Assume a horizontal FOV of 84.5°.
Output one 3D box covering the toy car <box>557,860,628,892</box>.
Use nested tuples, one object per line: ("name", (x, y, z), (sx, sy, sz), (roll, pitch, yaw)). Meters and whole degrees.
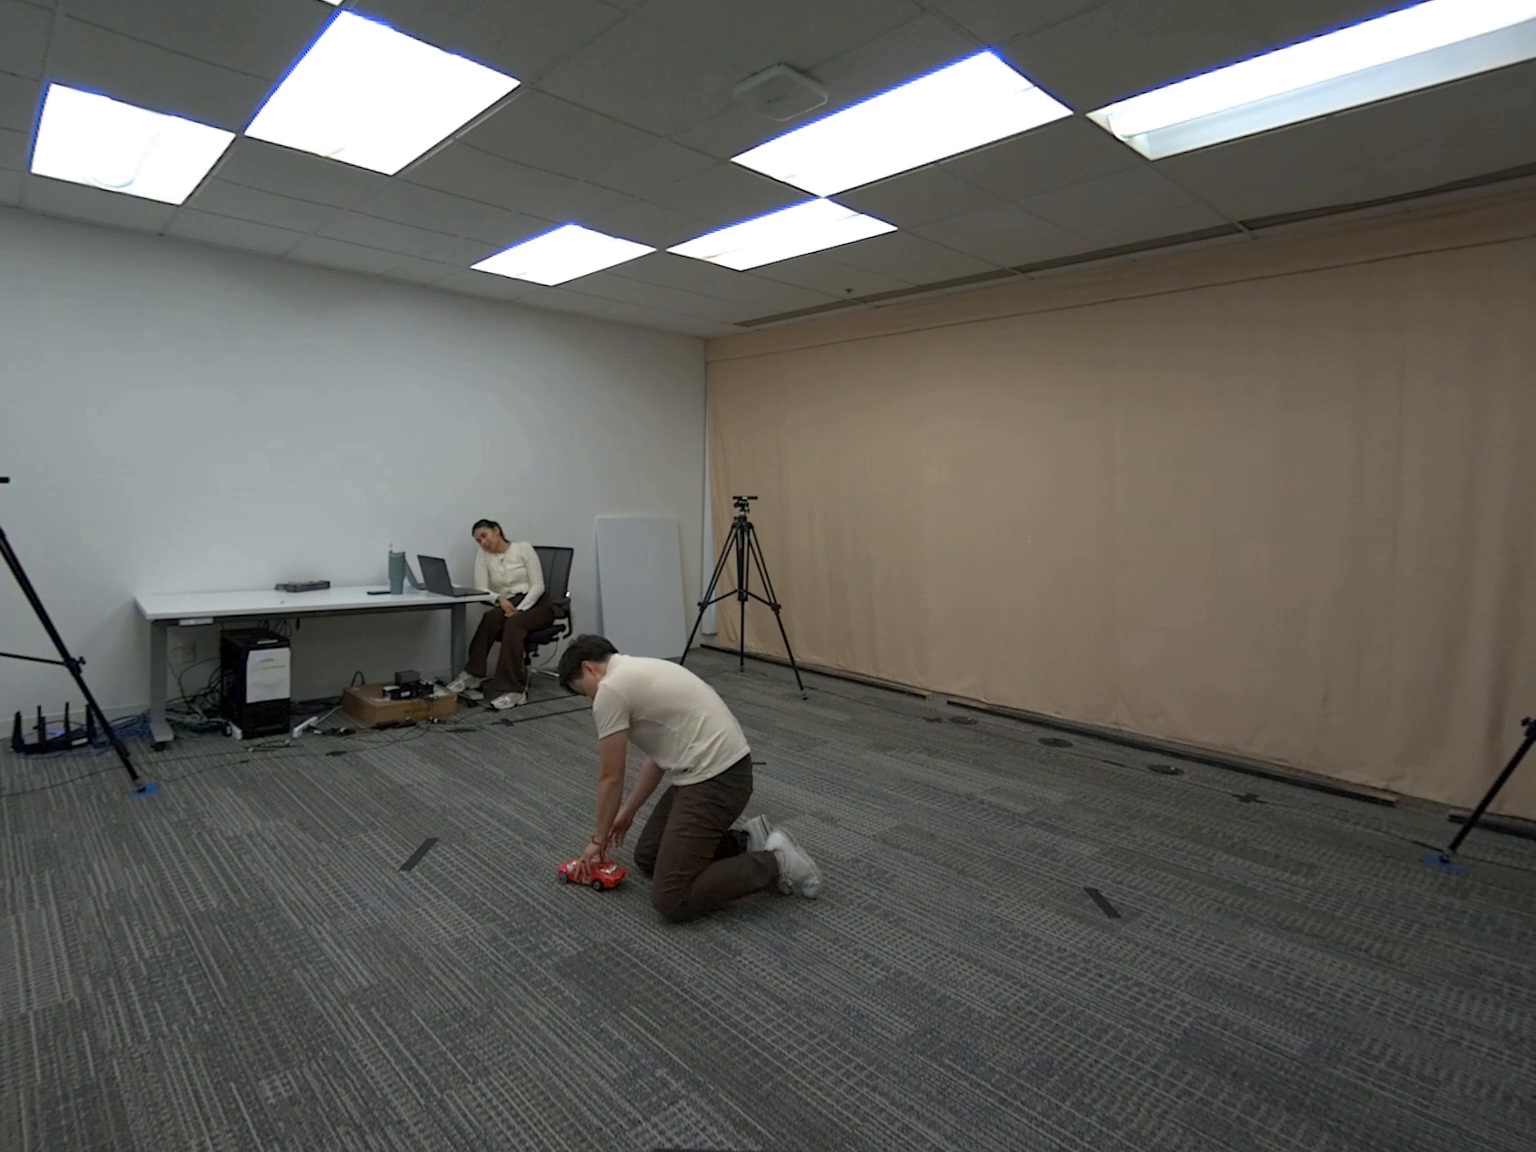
("toy car", (-0.626, 1.066, 3.021), (0.258, 0.083, 0.129), (-9, 2, 21))
